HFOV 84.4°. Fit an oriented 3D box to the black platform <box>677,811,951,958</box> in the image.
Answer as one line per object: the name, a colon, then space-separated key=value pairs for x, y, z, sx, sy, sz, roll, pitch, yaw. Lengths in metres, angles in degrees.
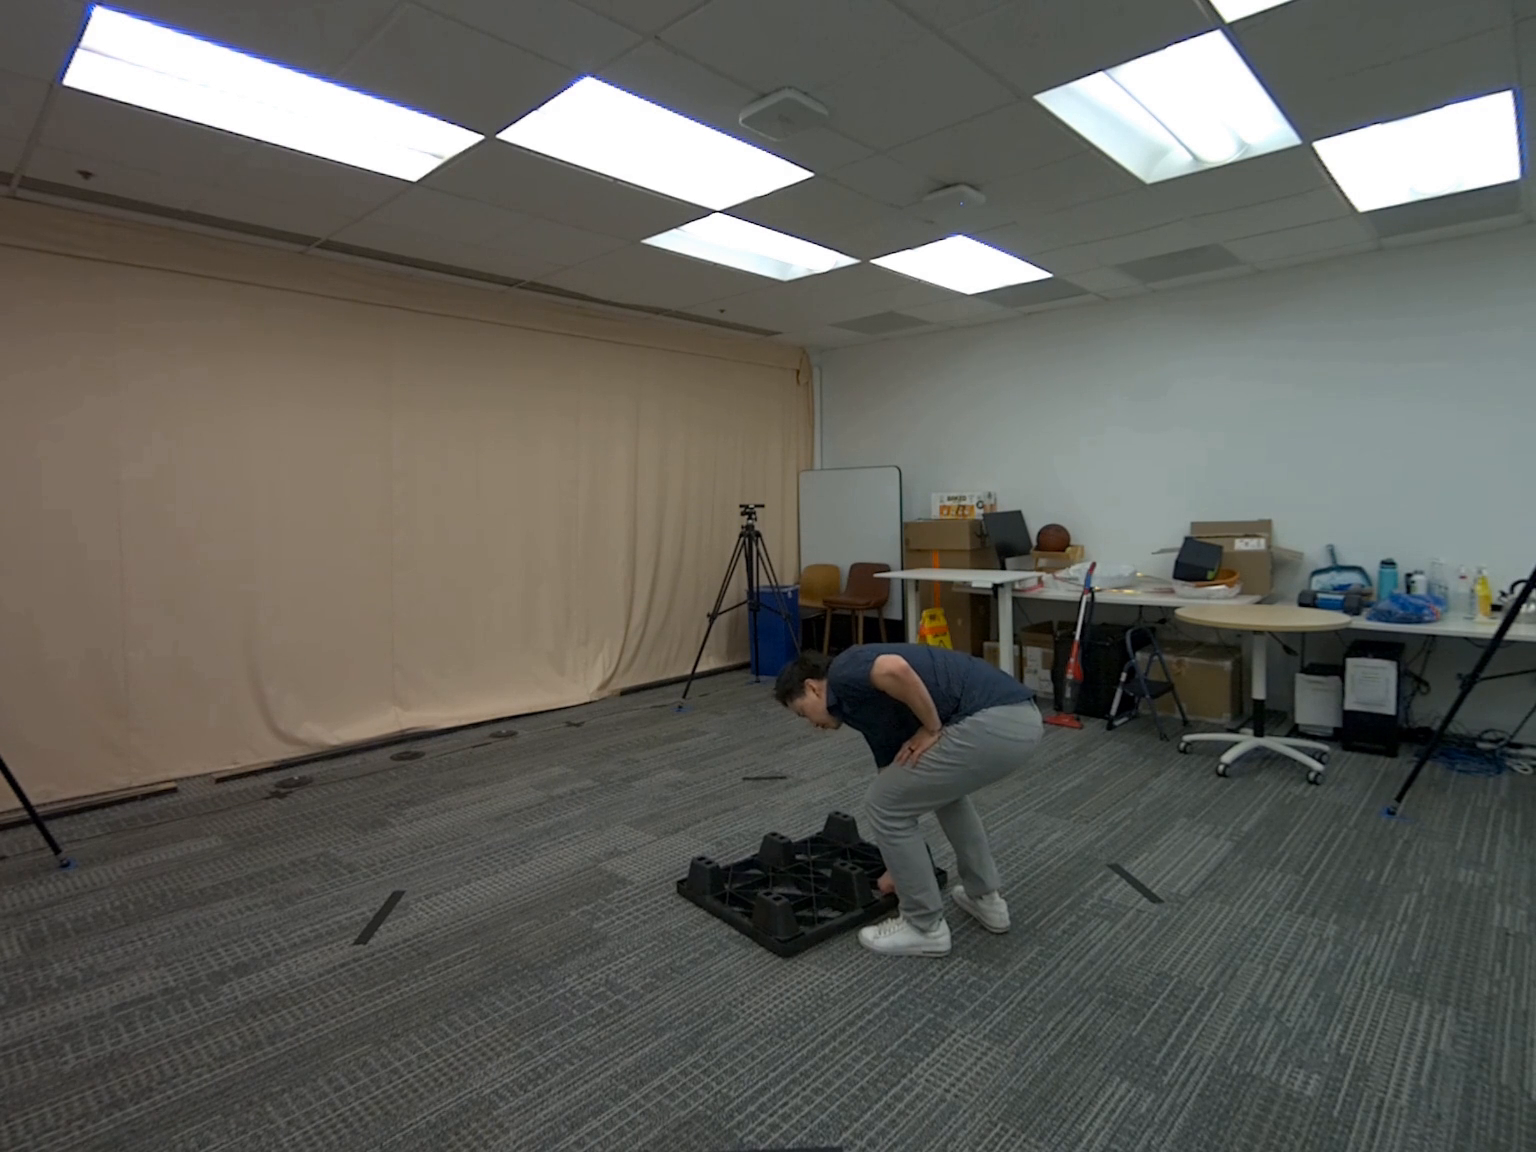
black platform: x=0.159 y=1.055 z=3.029 sx=0.782 sy=0.143 sz=0.624 roll=-6 pitch=5 yaw=-39
